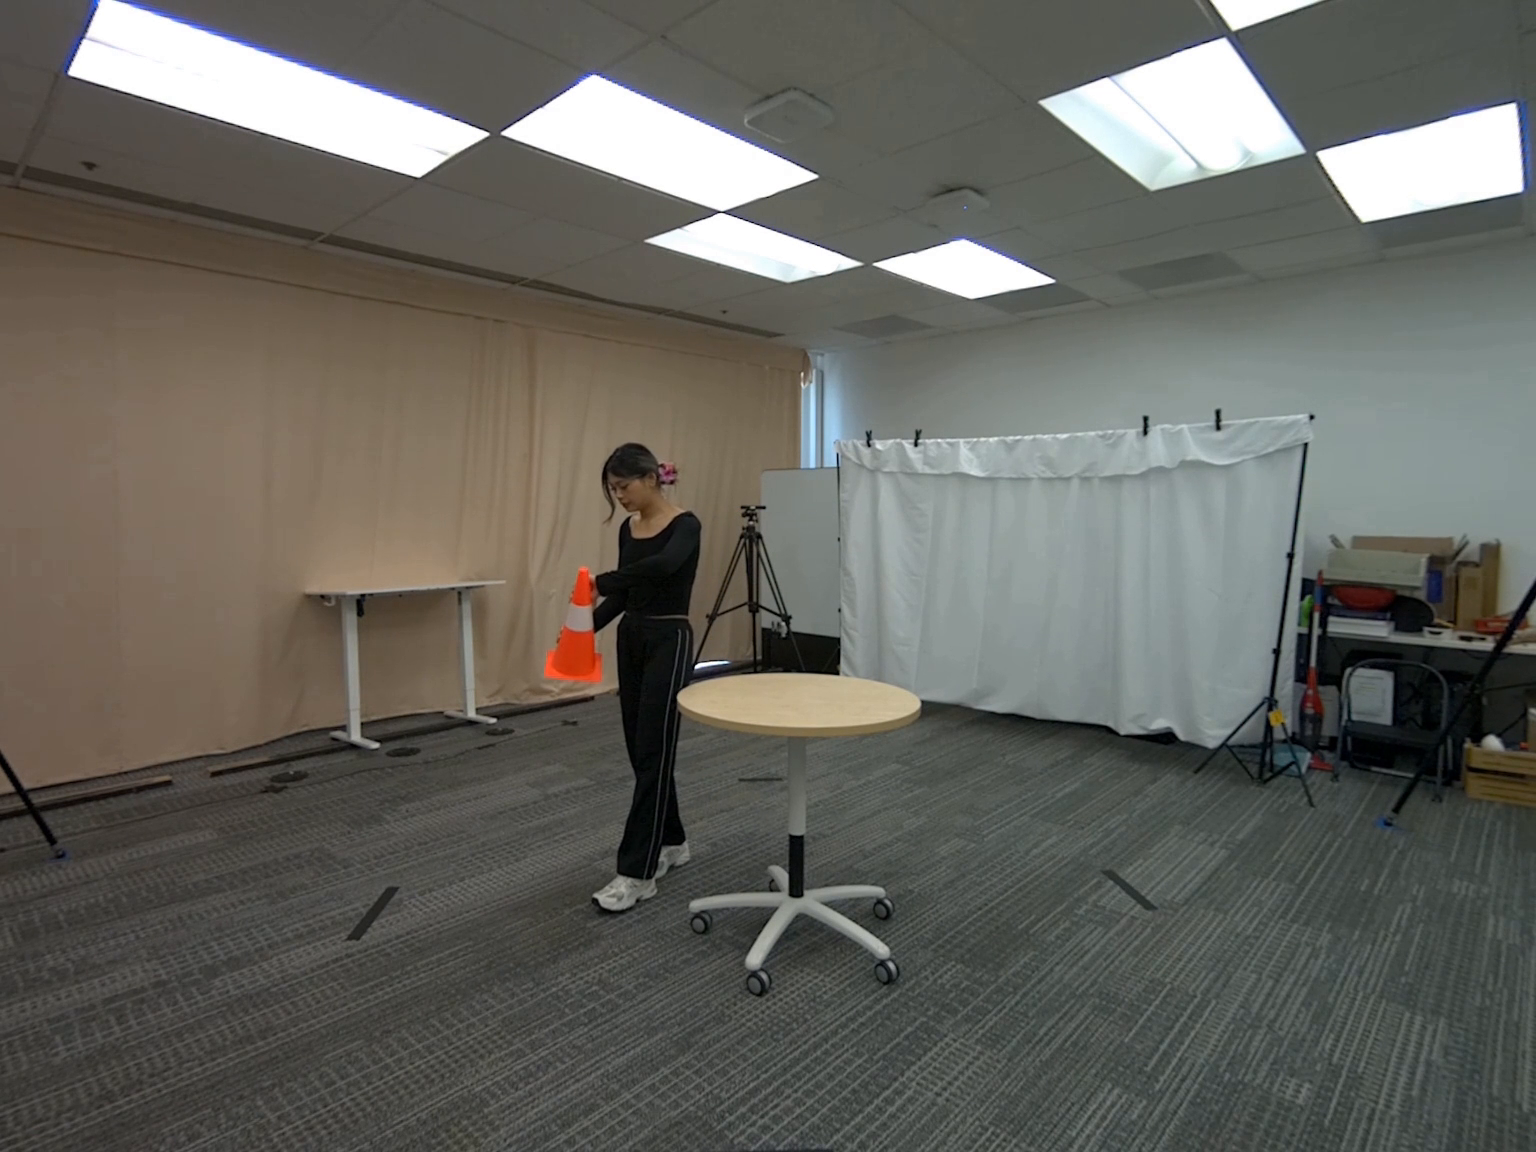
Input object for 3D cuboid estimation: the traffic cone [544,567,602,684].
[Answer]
[{"bbox_3d":[-0.654,0.156,2.908,0.203,0.380,0.207,9,23,-8],"label":"traffic cone"}]
